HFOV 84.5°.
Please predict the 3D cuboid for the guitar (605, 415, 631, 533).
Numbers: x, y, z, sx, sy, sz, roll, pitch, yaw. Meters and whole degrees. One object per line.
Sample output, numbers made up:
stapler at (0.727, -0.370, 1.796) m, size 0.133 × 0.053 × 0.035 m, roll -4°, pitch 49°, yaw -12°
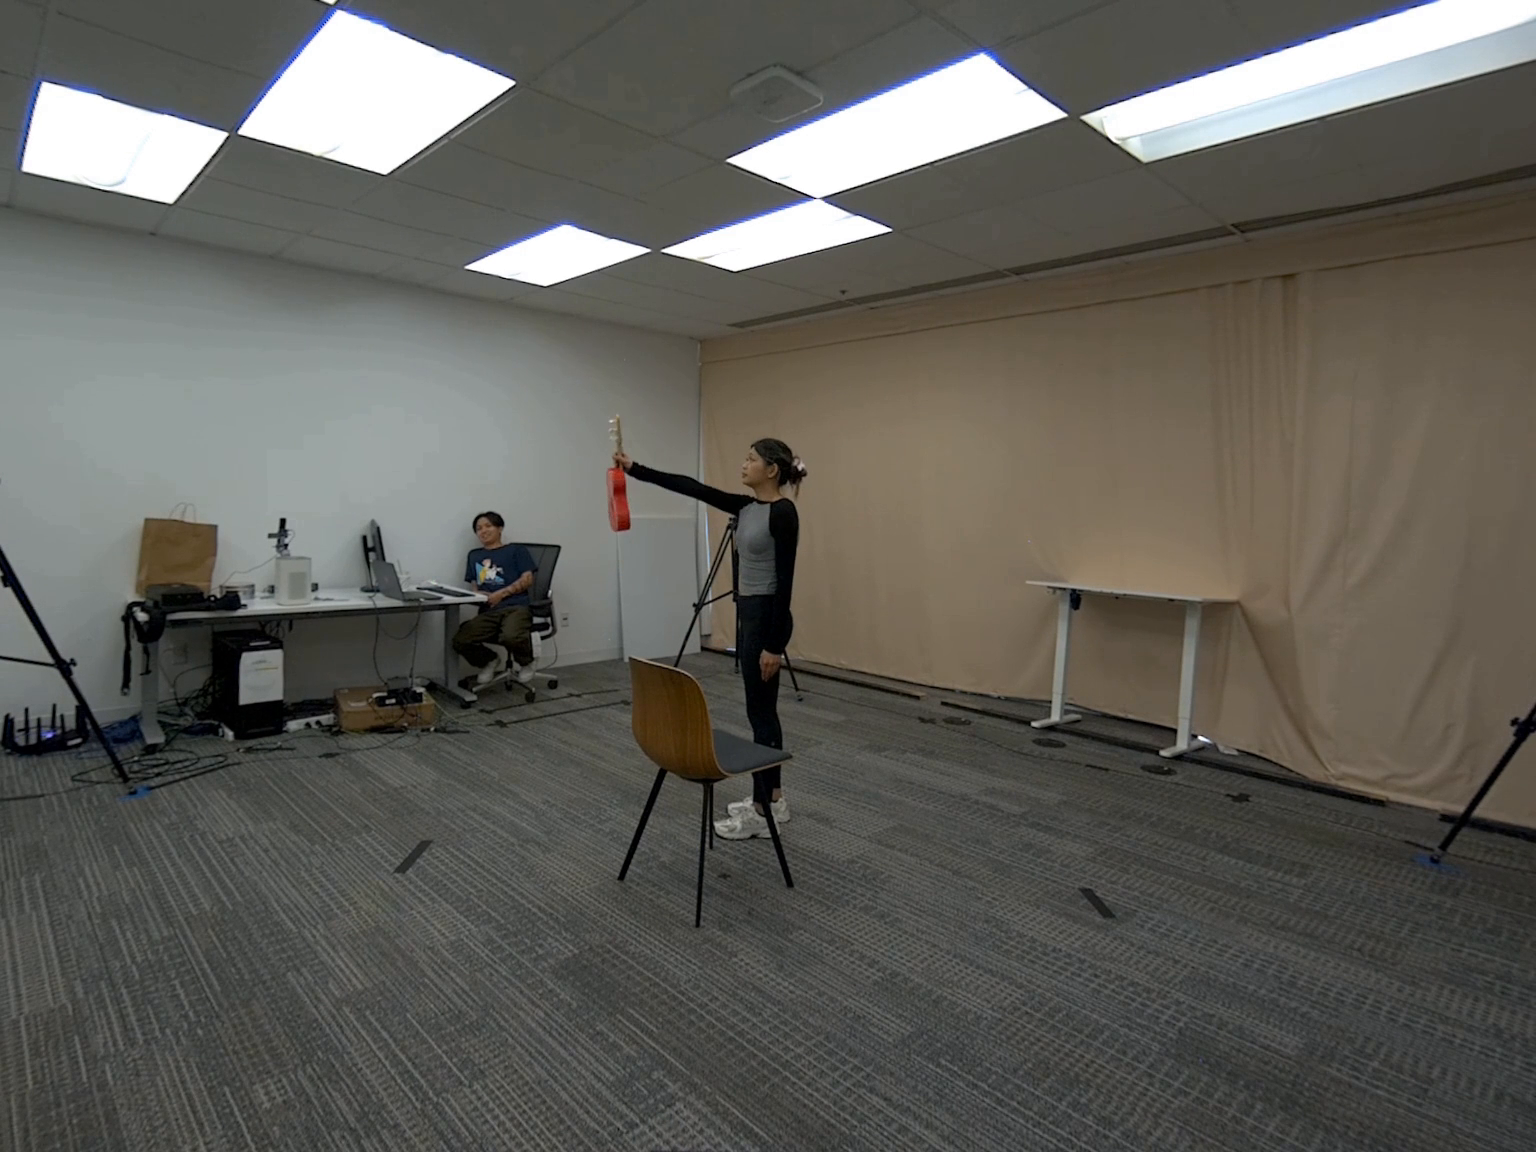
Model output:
guitar at (-0.671, -0.426, 3.668) m, size 0.070 × 0.497 × 0.195 m, roll -6°, pitch 2°, yaw -16°
